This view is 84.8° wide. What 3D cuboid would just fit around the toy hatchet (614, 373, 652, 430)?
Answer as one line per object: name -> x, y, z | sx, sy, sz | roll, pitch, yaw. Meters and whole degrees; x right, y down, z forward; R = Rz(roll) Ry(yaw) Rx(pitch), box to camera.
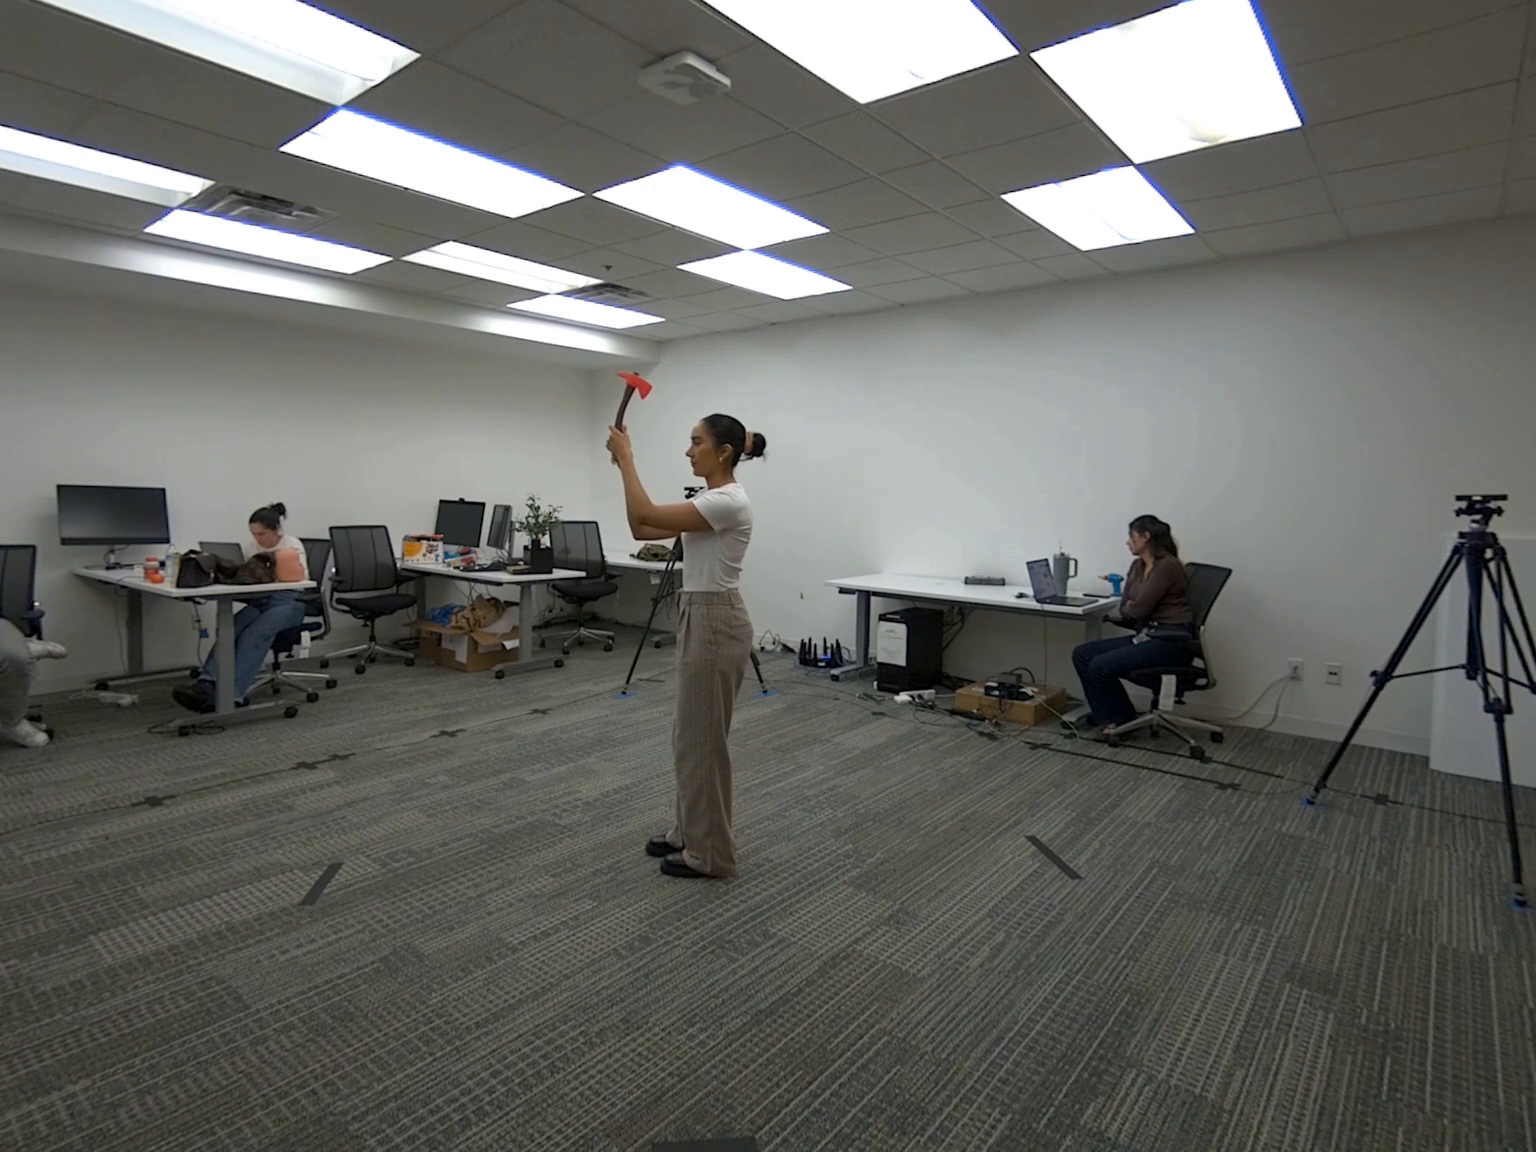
toy hatchet -> -0.493, -0.597, 3.024 | 0.130, 0.270, 0.030 | 2, -1, -6
